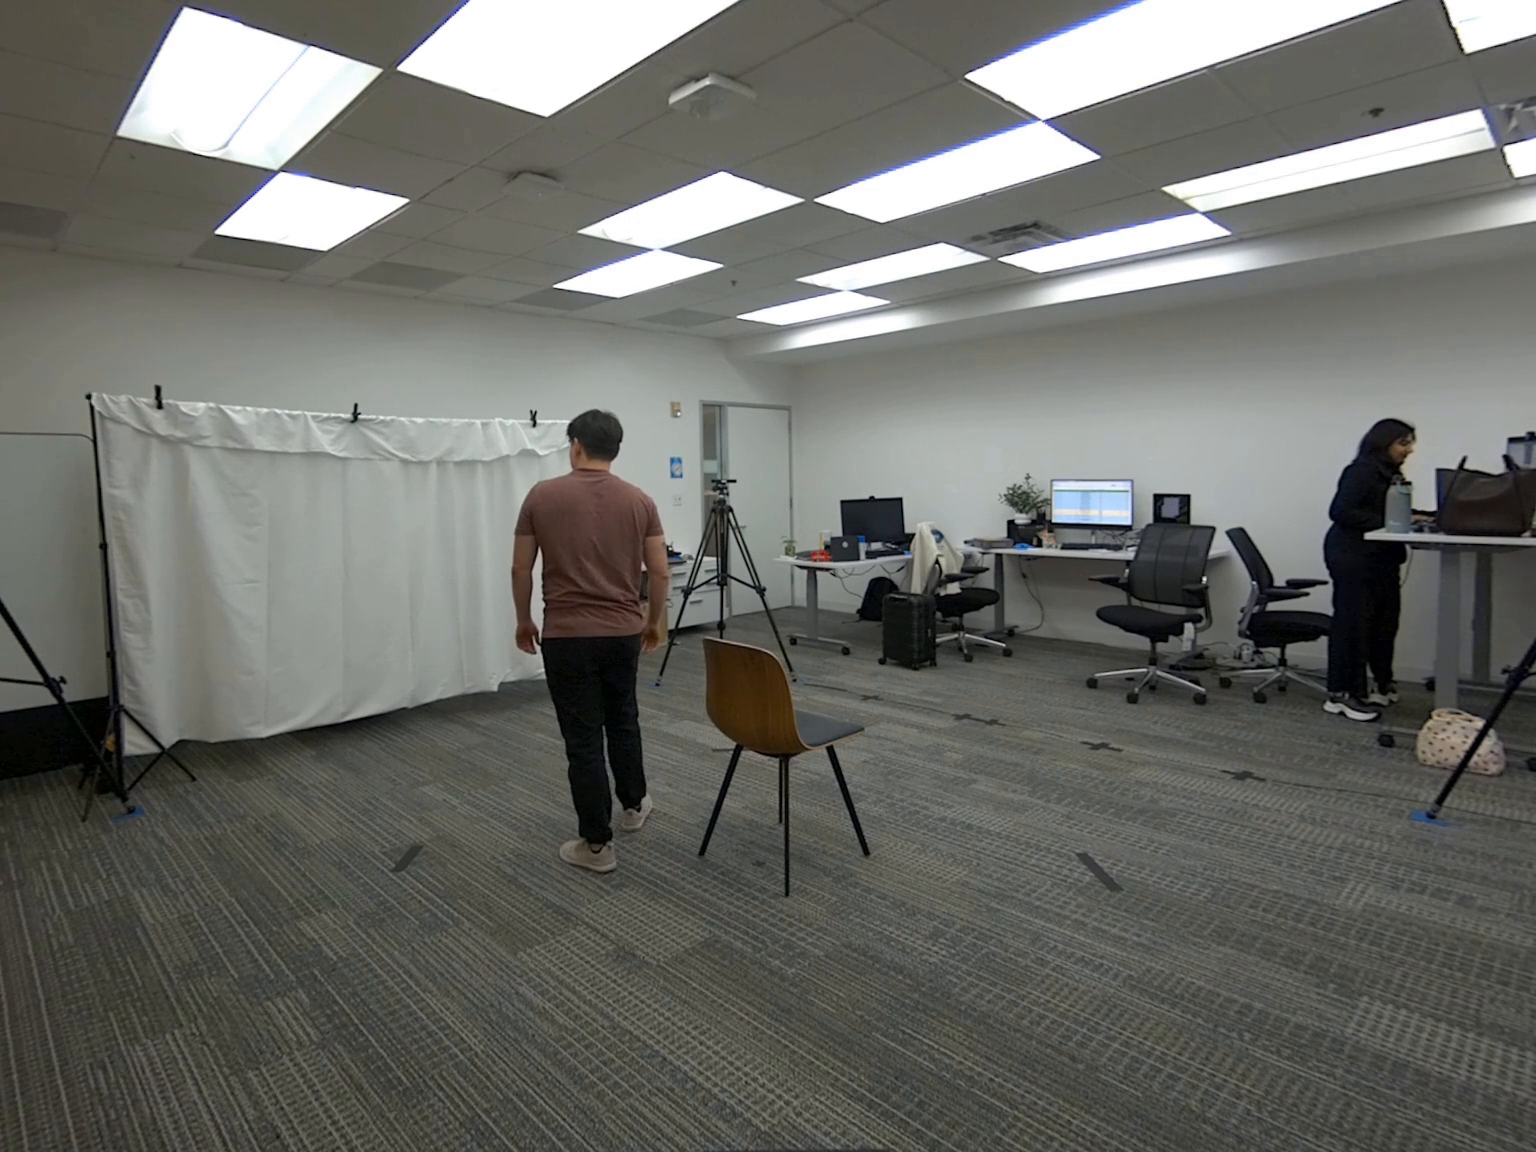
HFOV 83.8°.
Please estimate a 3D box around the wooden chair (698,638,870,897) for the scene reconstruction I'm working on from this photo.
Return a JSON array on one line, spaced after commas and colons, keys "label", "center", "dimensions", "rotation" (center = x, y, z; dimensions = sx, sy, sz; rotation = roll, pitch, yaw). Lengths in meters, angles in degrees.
[{"label": "wooden chair", "center": [0.061, 0.615, 3.141], "dimensions": [0.493, 0.871, 0.511], "rotation": [3, 10, 44]}]
